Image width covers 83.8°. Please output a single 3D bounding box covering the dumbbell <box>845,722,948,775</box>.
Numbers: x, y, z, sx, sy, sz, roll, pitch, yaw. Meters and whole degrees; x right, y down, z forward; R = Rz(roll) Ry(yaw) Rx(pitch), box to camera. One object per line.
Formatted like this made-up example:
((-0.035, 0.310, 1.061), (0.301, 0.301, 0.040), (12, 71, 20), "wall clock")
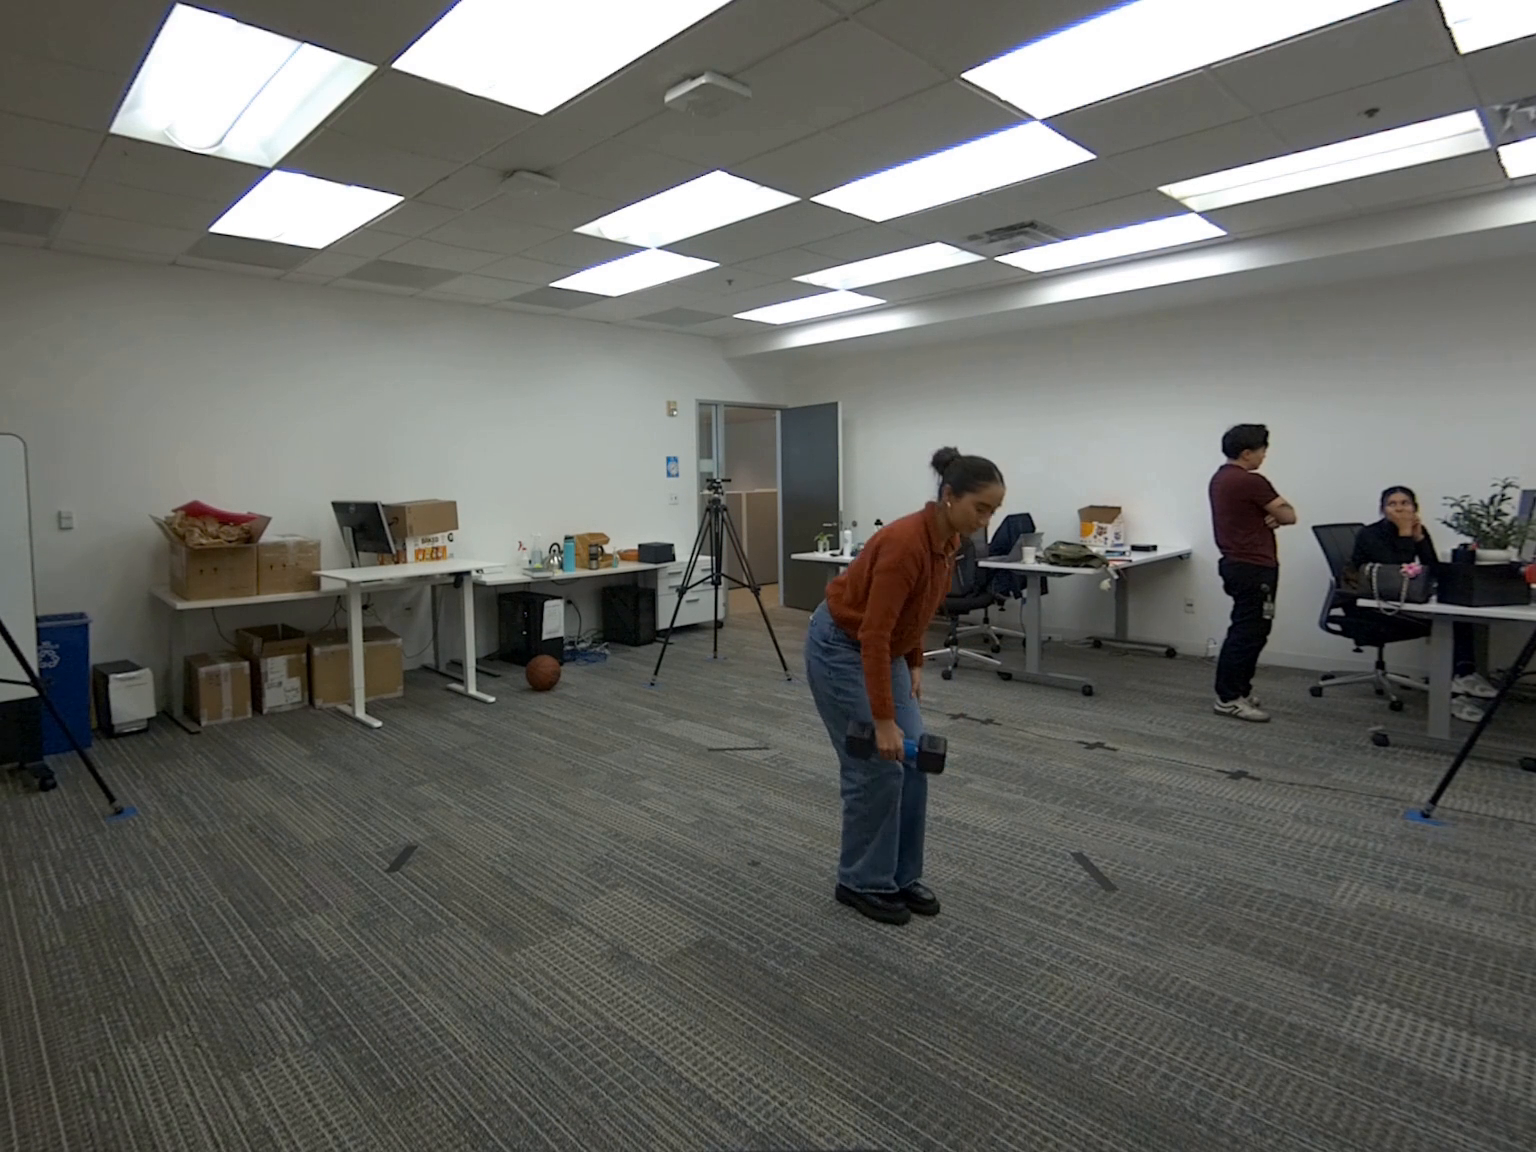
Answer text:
((0.388, 0.525, 2.546), (0.297, 0.122, 0.108), (8, 10, 12), "dumbbell")
